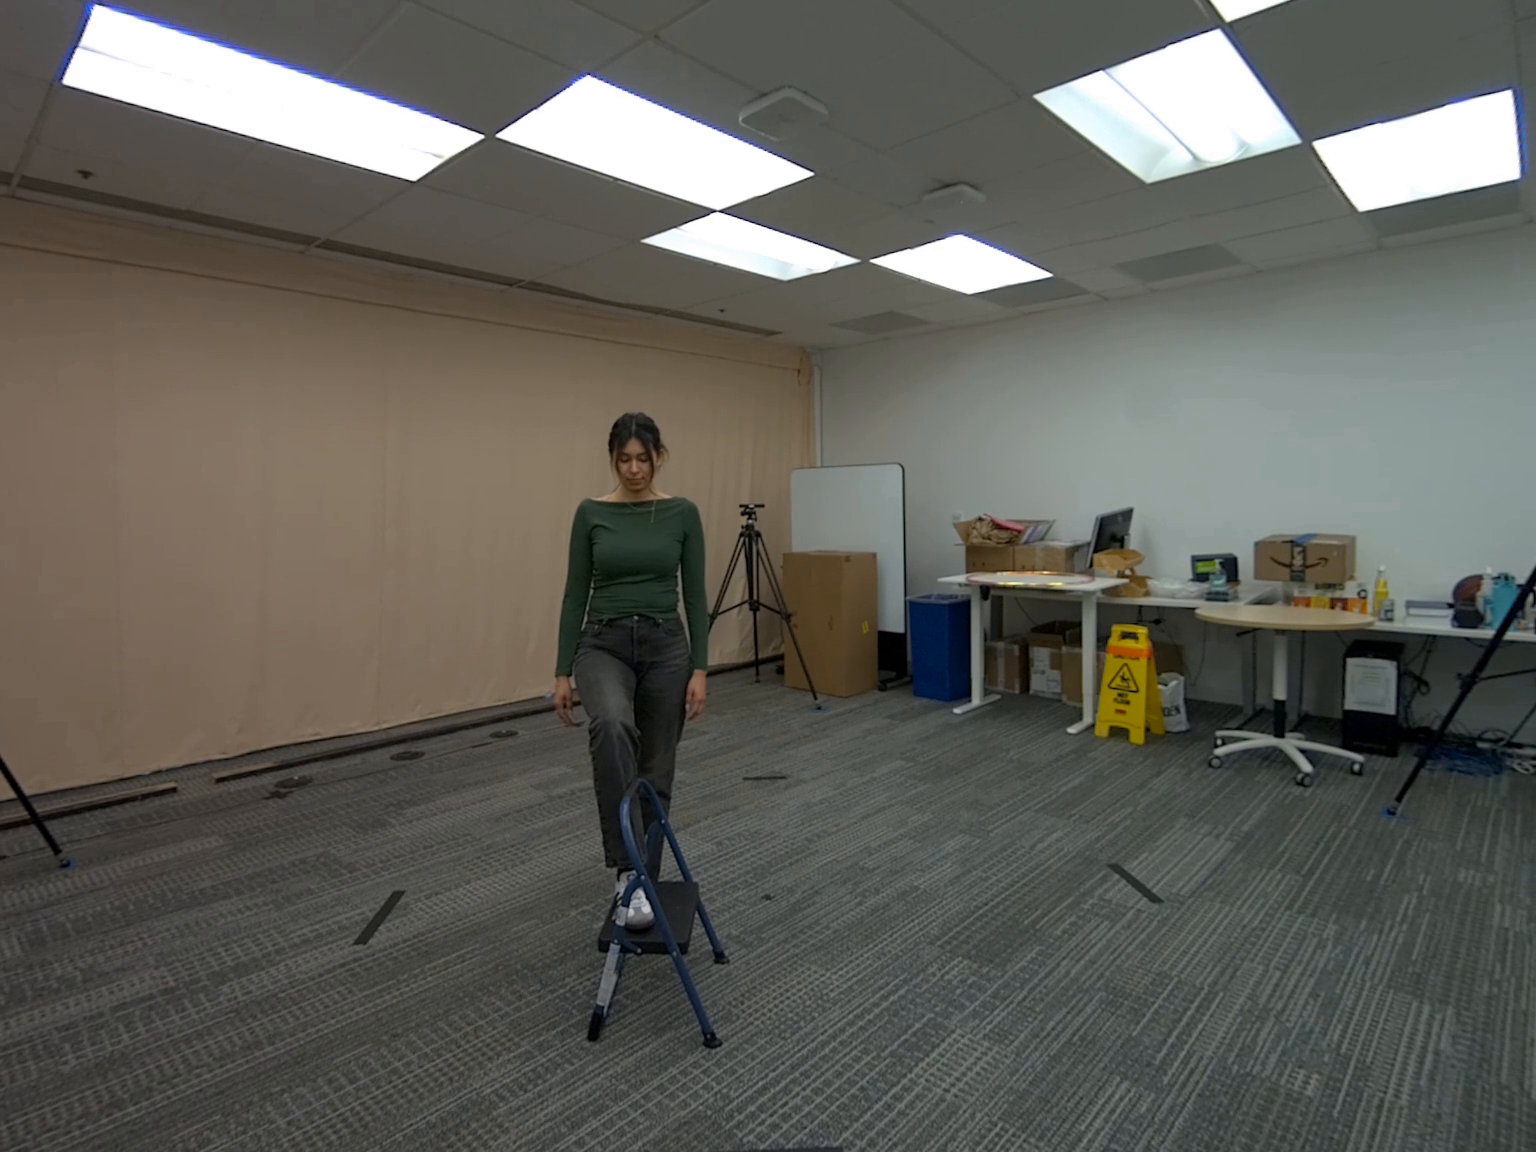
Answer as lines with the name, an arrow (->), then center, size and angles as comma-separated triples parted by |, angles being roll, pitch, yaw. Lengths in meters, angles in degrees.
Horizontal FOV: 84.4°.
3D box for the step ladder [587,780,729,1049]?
step ladder -> -0.297, 0.901, 2.369 | 0.350, 0.605, 0.430 | 0, 3, 1
